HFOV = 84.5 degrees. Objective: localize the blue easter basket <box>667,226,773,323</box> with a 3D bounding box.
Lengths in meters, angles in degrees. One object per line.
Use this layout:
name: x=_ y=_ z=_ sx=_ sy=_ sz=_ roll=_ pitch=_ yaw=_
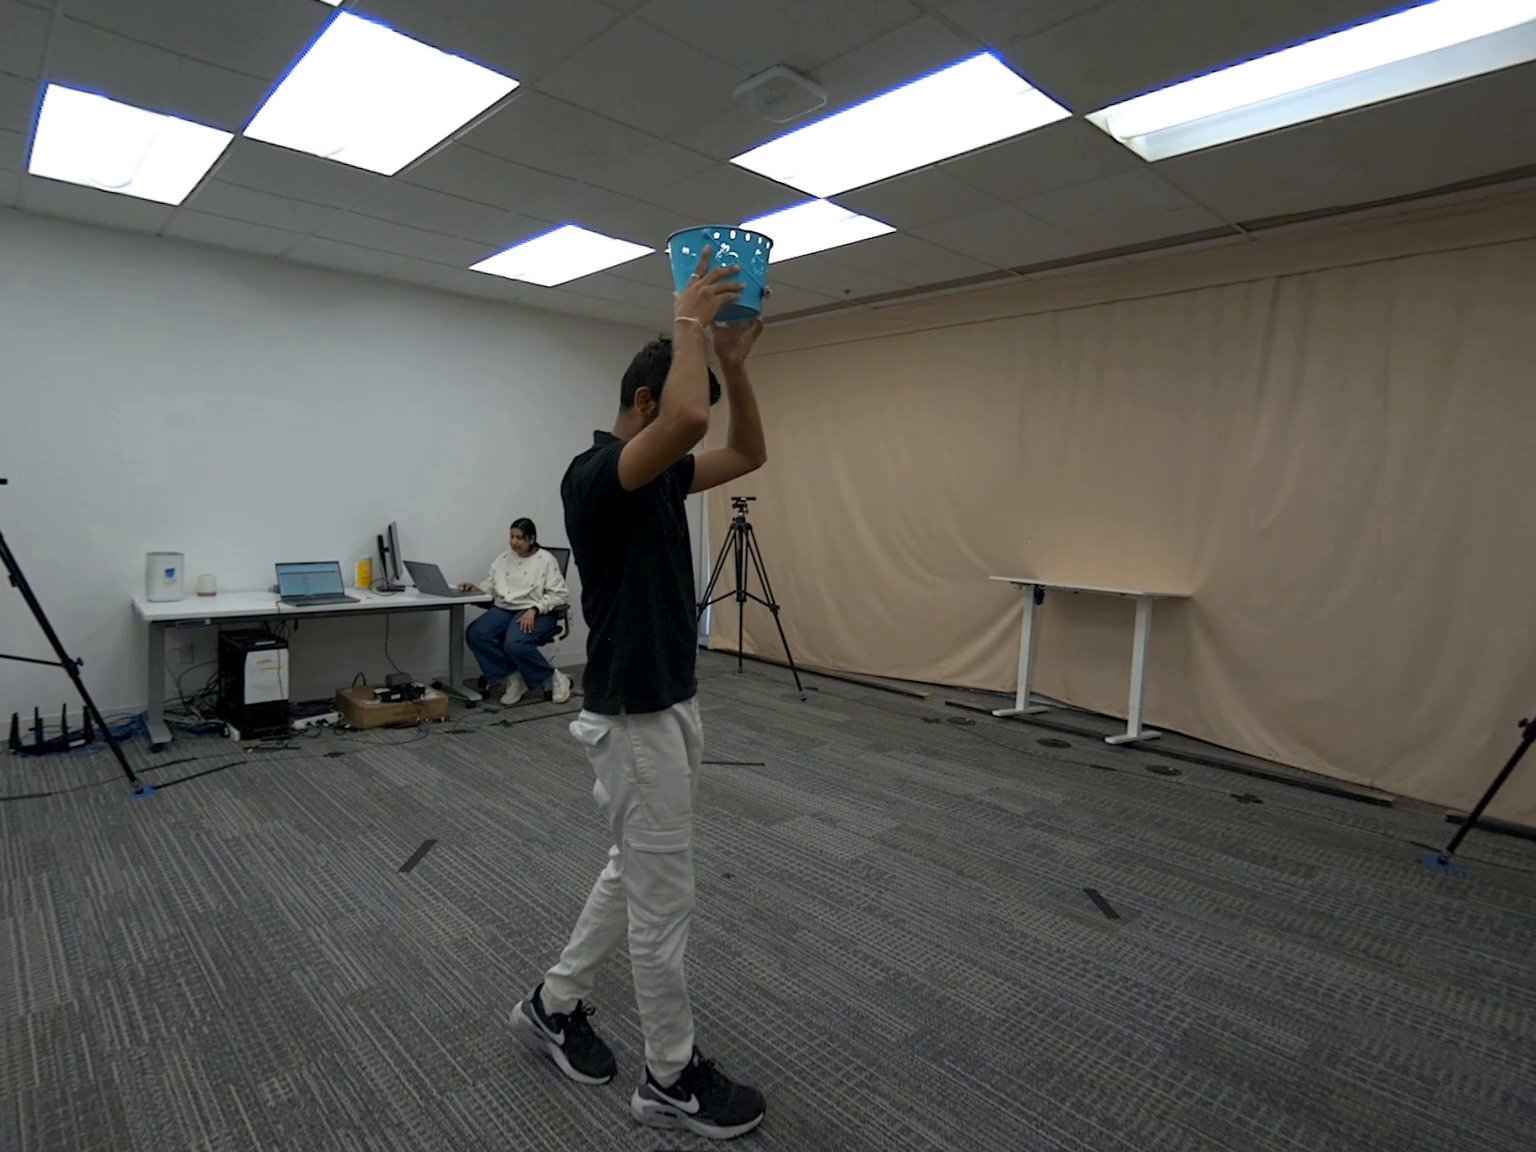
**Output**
blue easter basket: x=-0.109 y=-0.648 z=1.809 sx=0.243 sy=0.155 sz=0.245 roll=2 pitch=6 yaw=-2
